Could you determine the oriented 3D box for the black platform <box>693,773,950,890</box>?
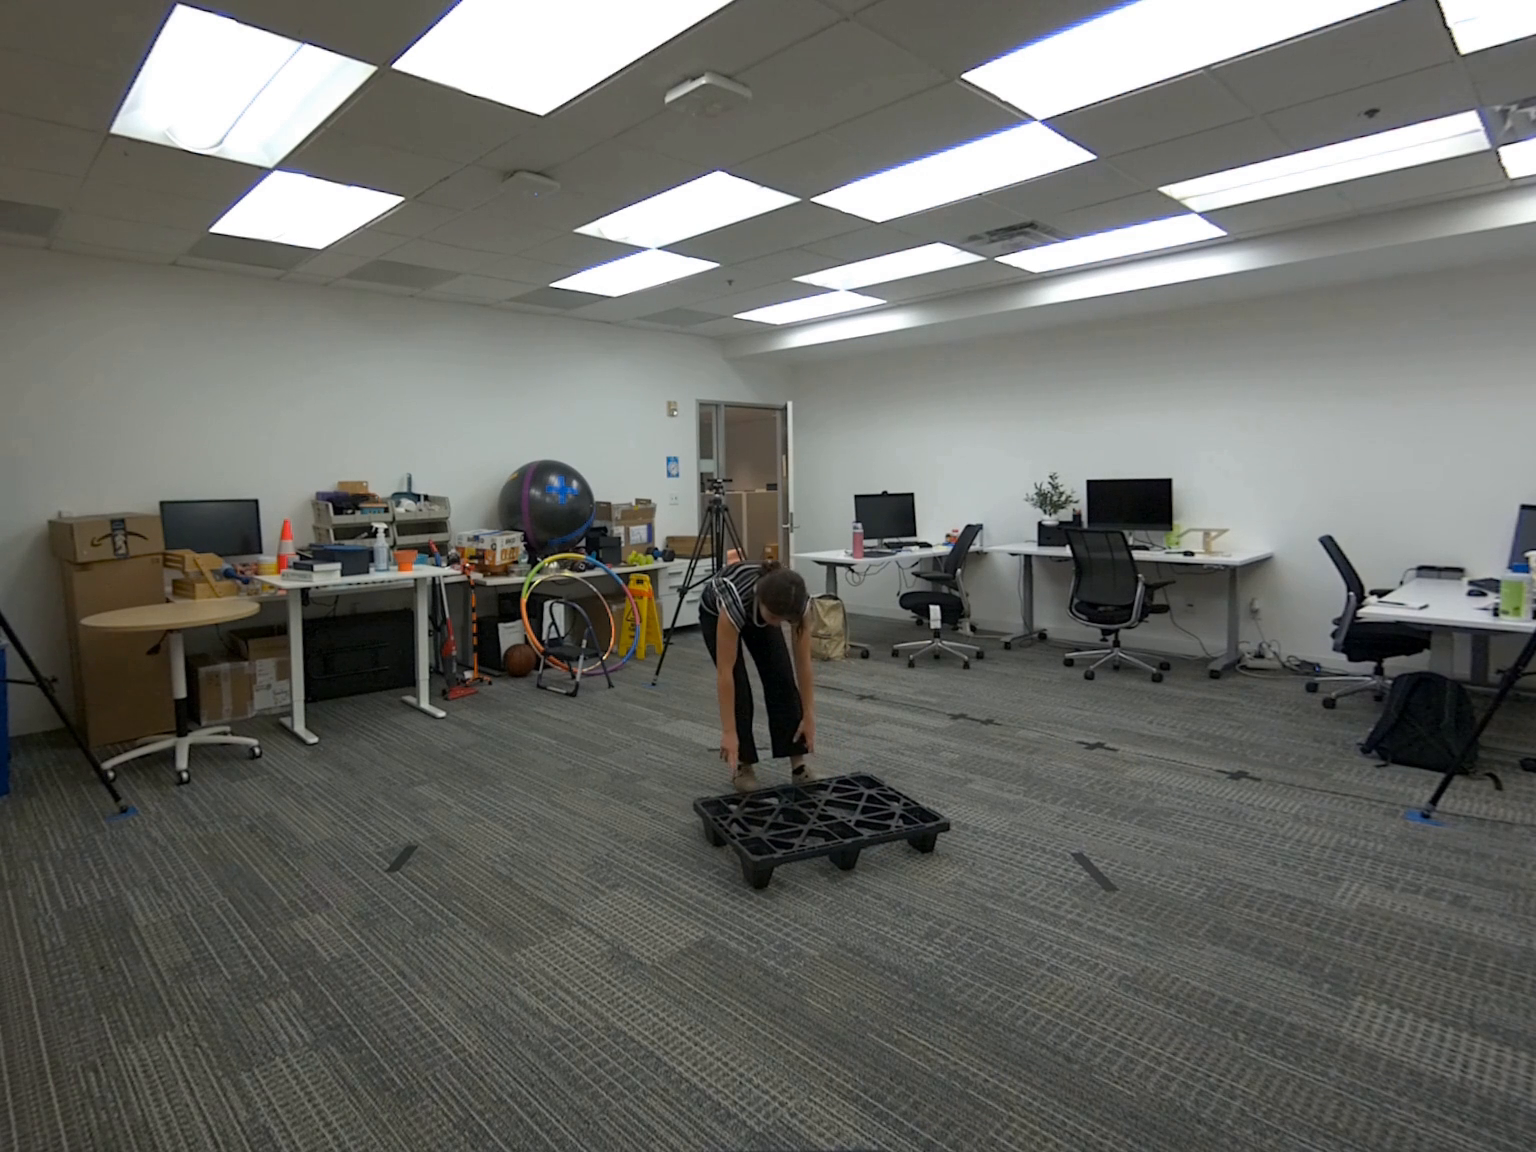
[{"bbox_3d":[0.193,0.958,3.251,0.790,0.142,0.620,-4,7,-23],"label":"black platform"}]
